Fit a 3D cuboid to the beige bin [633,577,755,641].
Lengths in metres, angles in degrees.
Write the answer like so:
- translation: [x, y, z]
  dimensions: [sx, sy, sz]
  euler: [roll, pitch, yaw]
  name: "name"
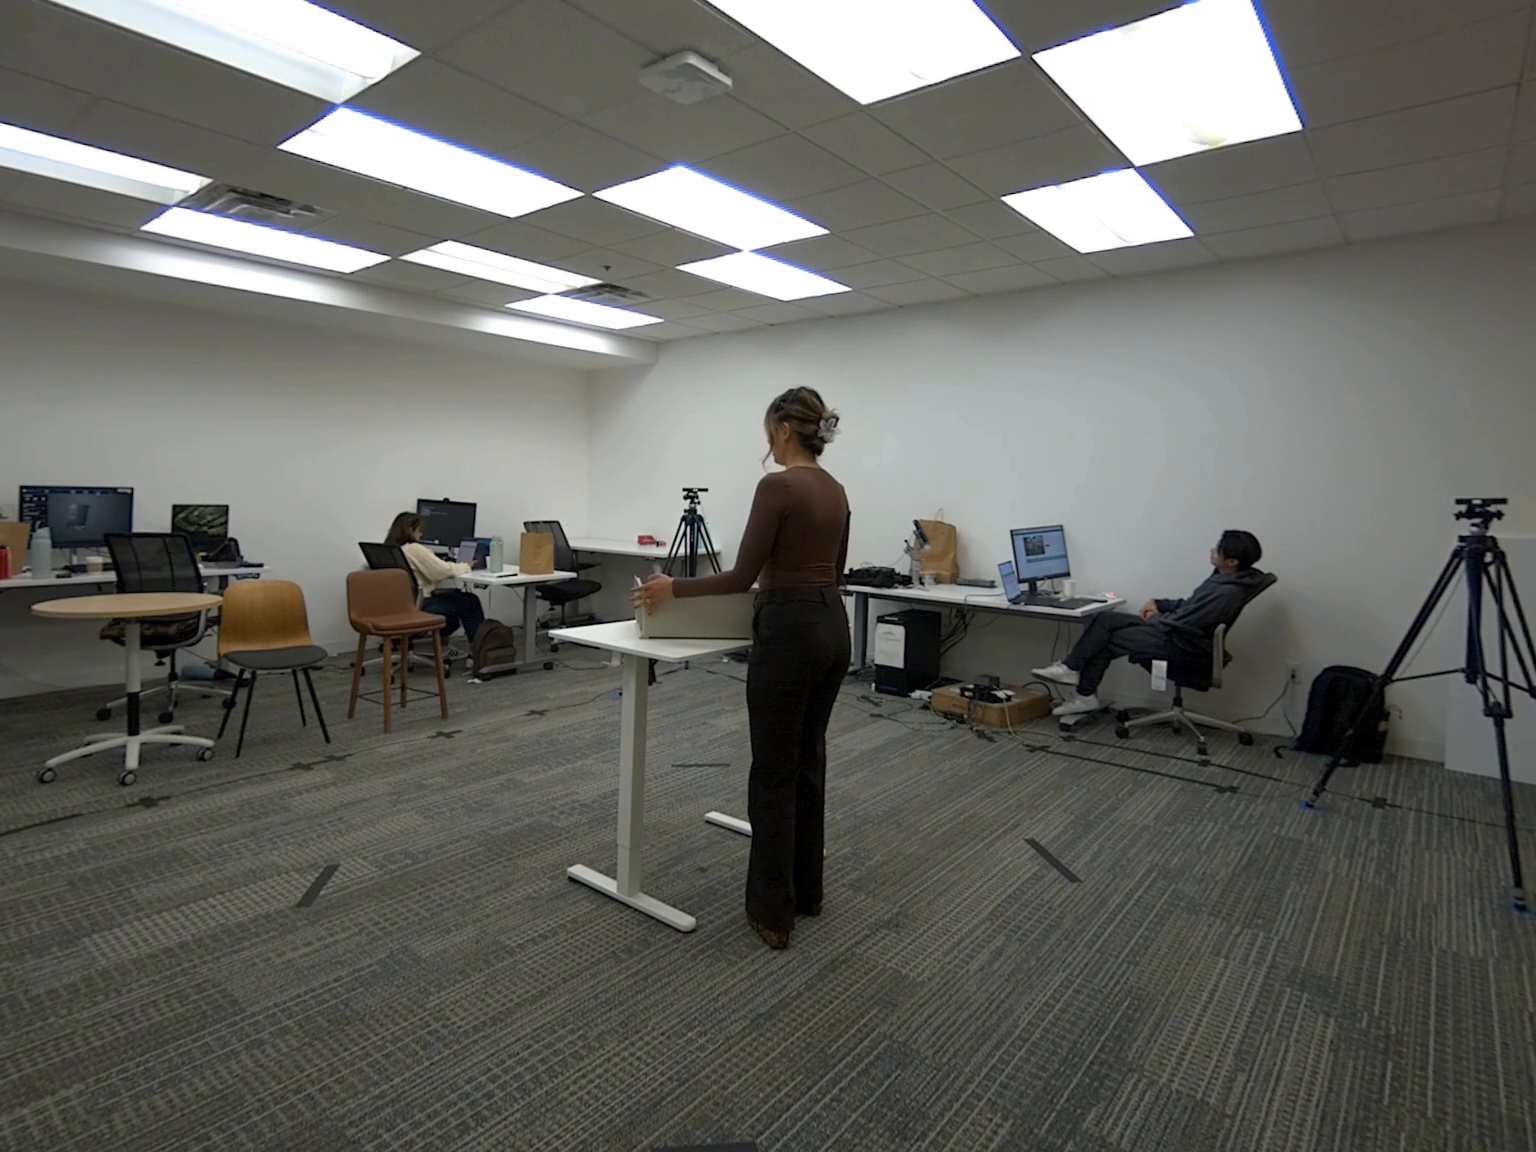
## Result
- translation: [-0.257, 0.102, 3.005]
  dimensions: [0.419, 0.188, 0.383]
  euler: [1, 8, -7]
  name: "beige bin"
